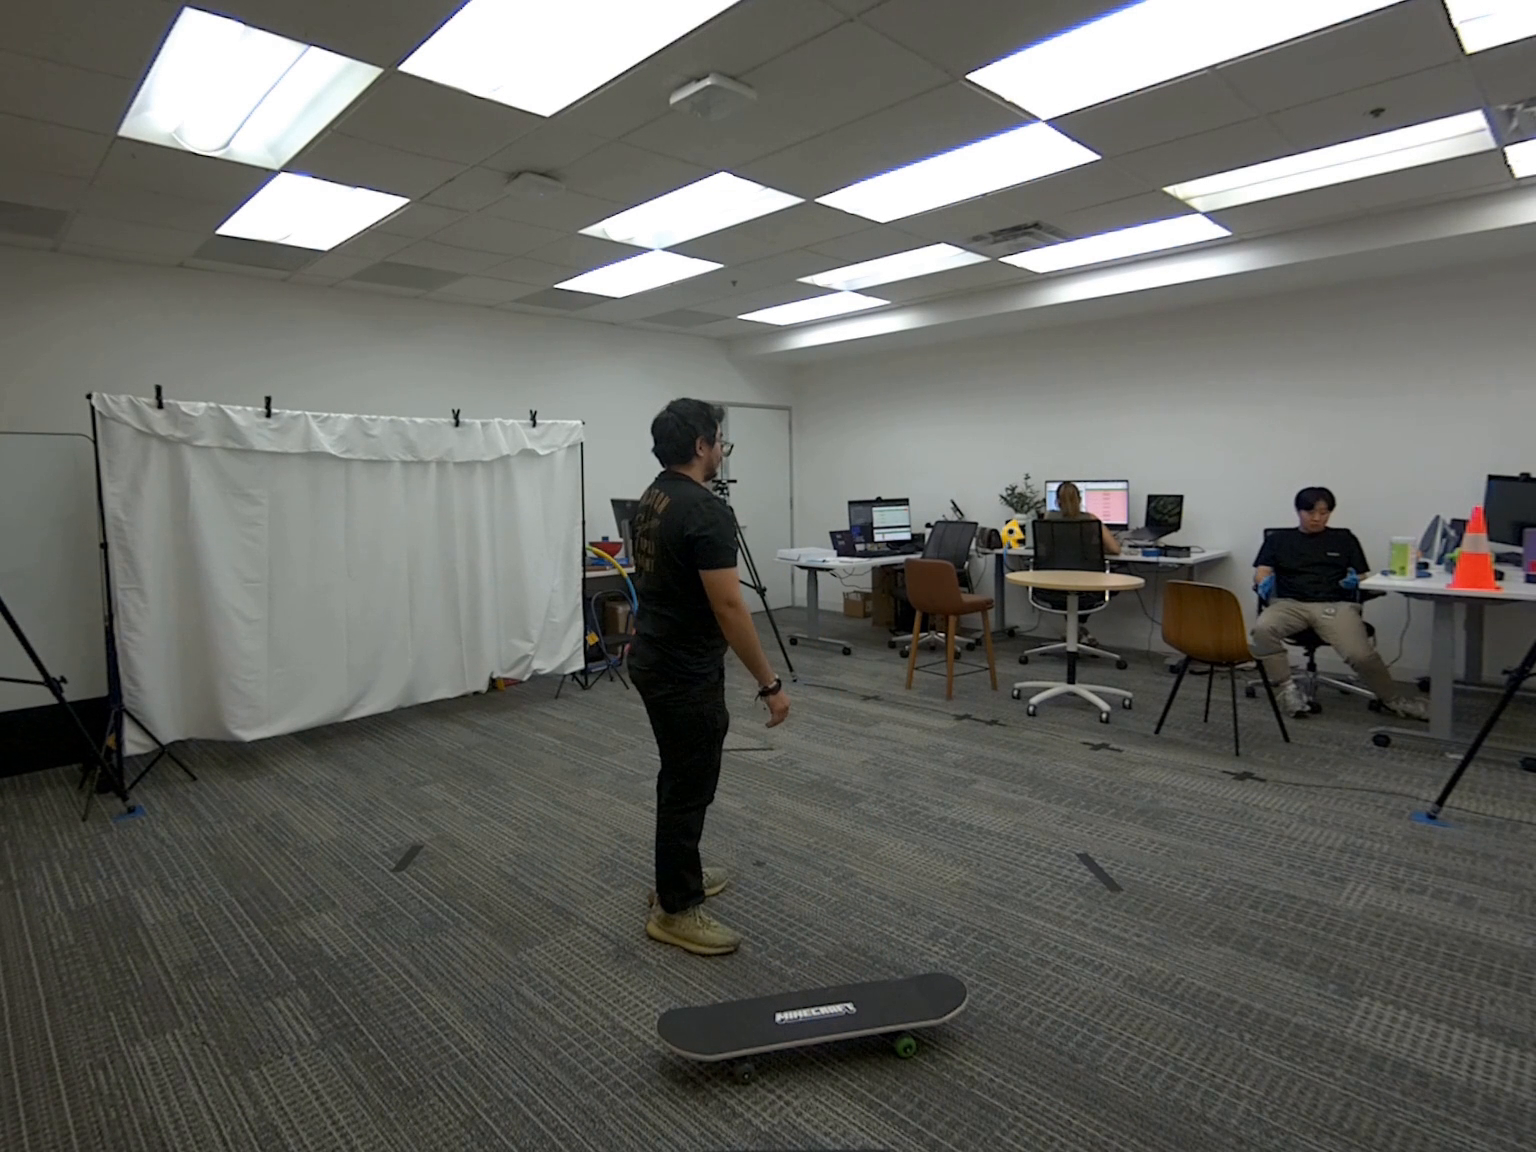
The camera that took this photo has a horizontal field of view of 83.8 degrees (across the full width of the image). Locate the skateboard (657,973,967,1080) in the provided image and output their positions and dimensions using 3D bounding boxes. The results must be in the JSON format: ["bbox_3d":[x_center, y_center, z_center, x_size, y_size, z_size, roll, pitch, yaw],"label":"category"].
[{"bbox_3d":[0.130,1.107,2.095,0.777,0.110,0.196,-3,6,-12],"label":"skateboard"}]
